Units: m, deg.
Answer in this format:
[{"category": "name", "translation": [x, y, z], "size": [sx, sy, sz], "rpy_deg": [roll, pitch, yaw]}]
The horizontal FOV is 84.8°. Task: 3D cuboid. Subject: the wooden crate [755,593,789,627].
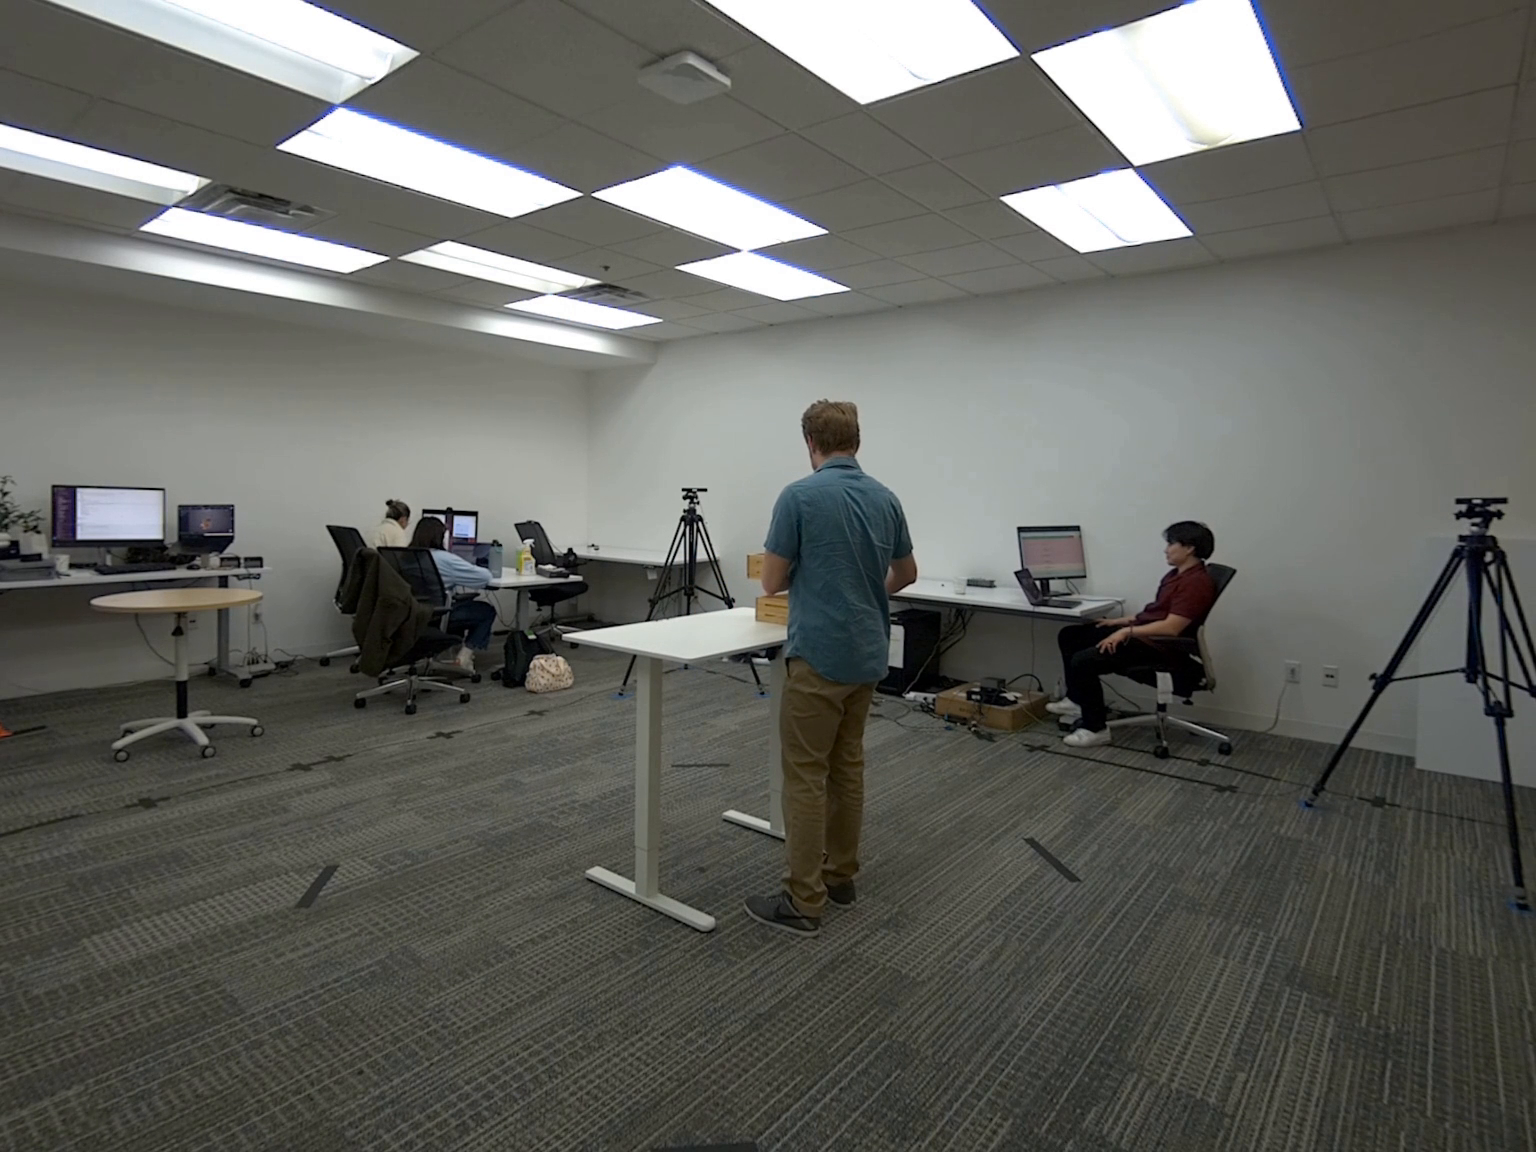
[{"category": "wooden crate", "translation": [0.121, 0.041, 3.259], "size": [0.335, 0.272, 0.293], "rpy_deg": [5, 6, 41]}]
